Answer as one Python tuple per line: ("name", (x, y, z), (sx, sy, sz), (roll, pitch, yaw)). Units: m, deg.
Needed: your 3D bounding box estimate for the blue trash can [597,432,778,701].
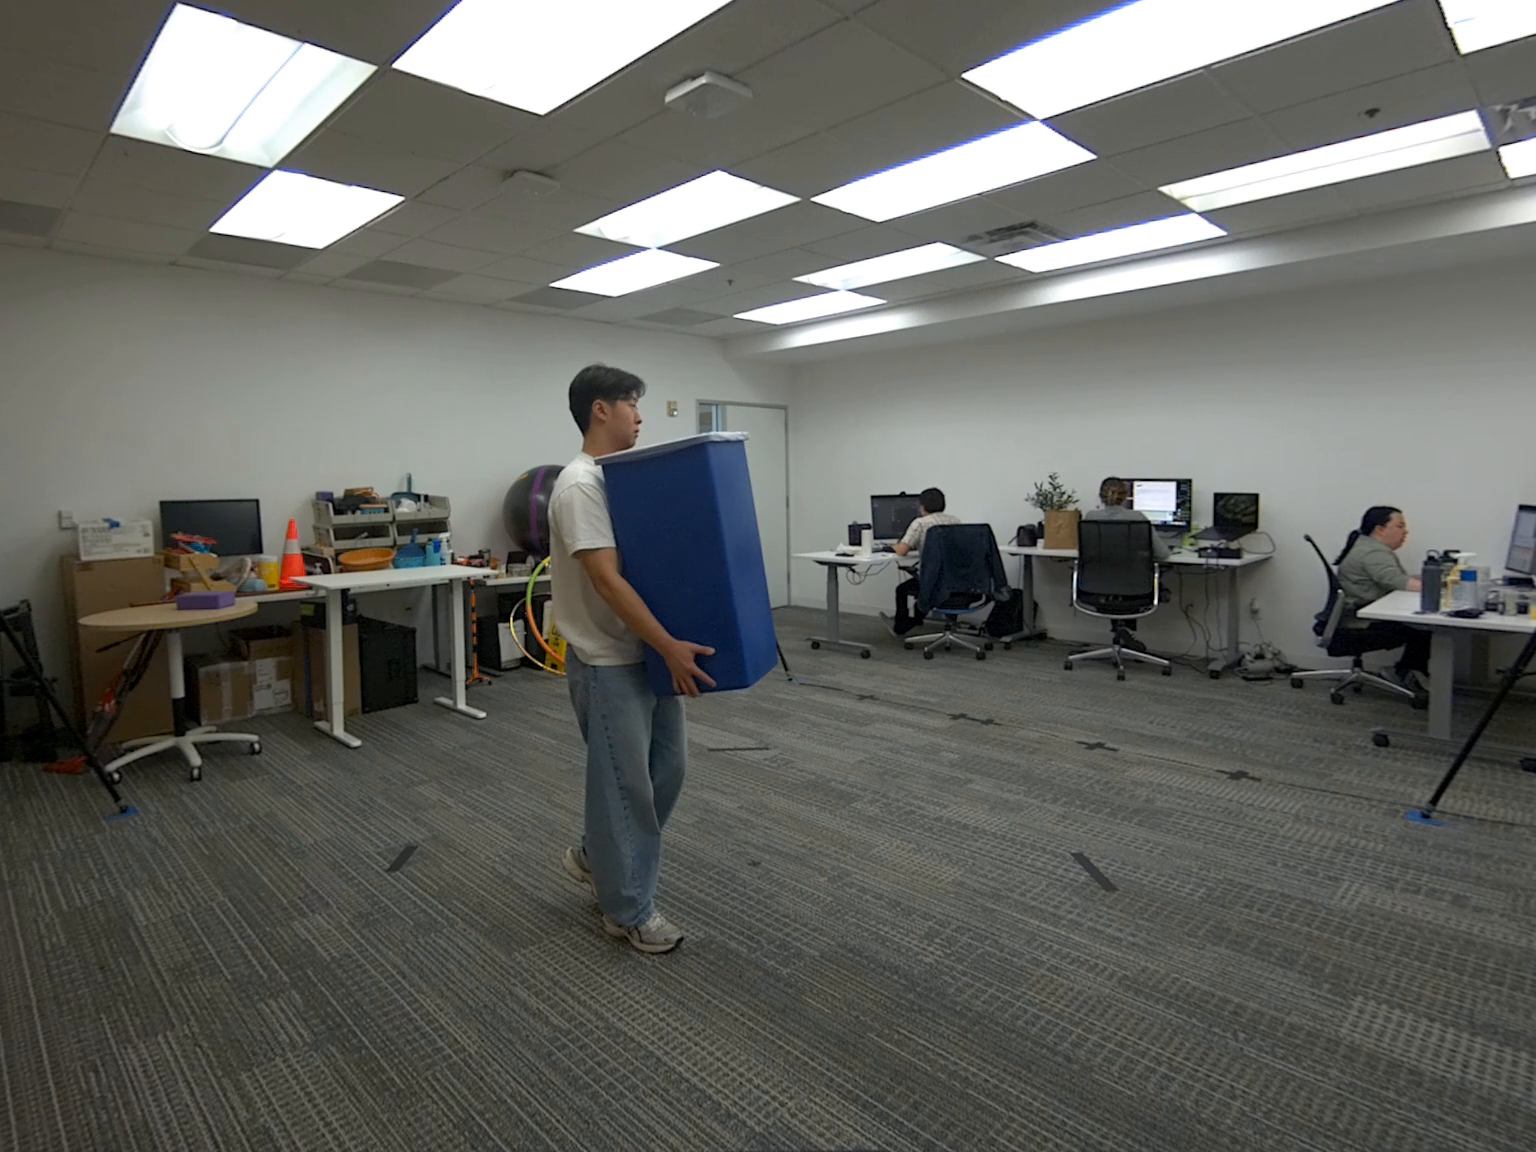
("blue trash can", (-0.211, -0.043, 2.536), (0.384, 0.712, 0.369), (-10, 2, 19))
